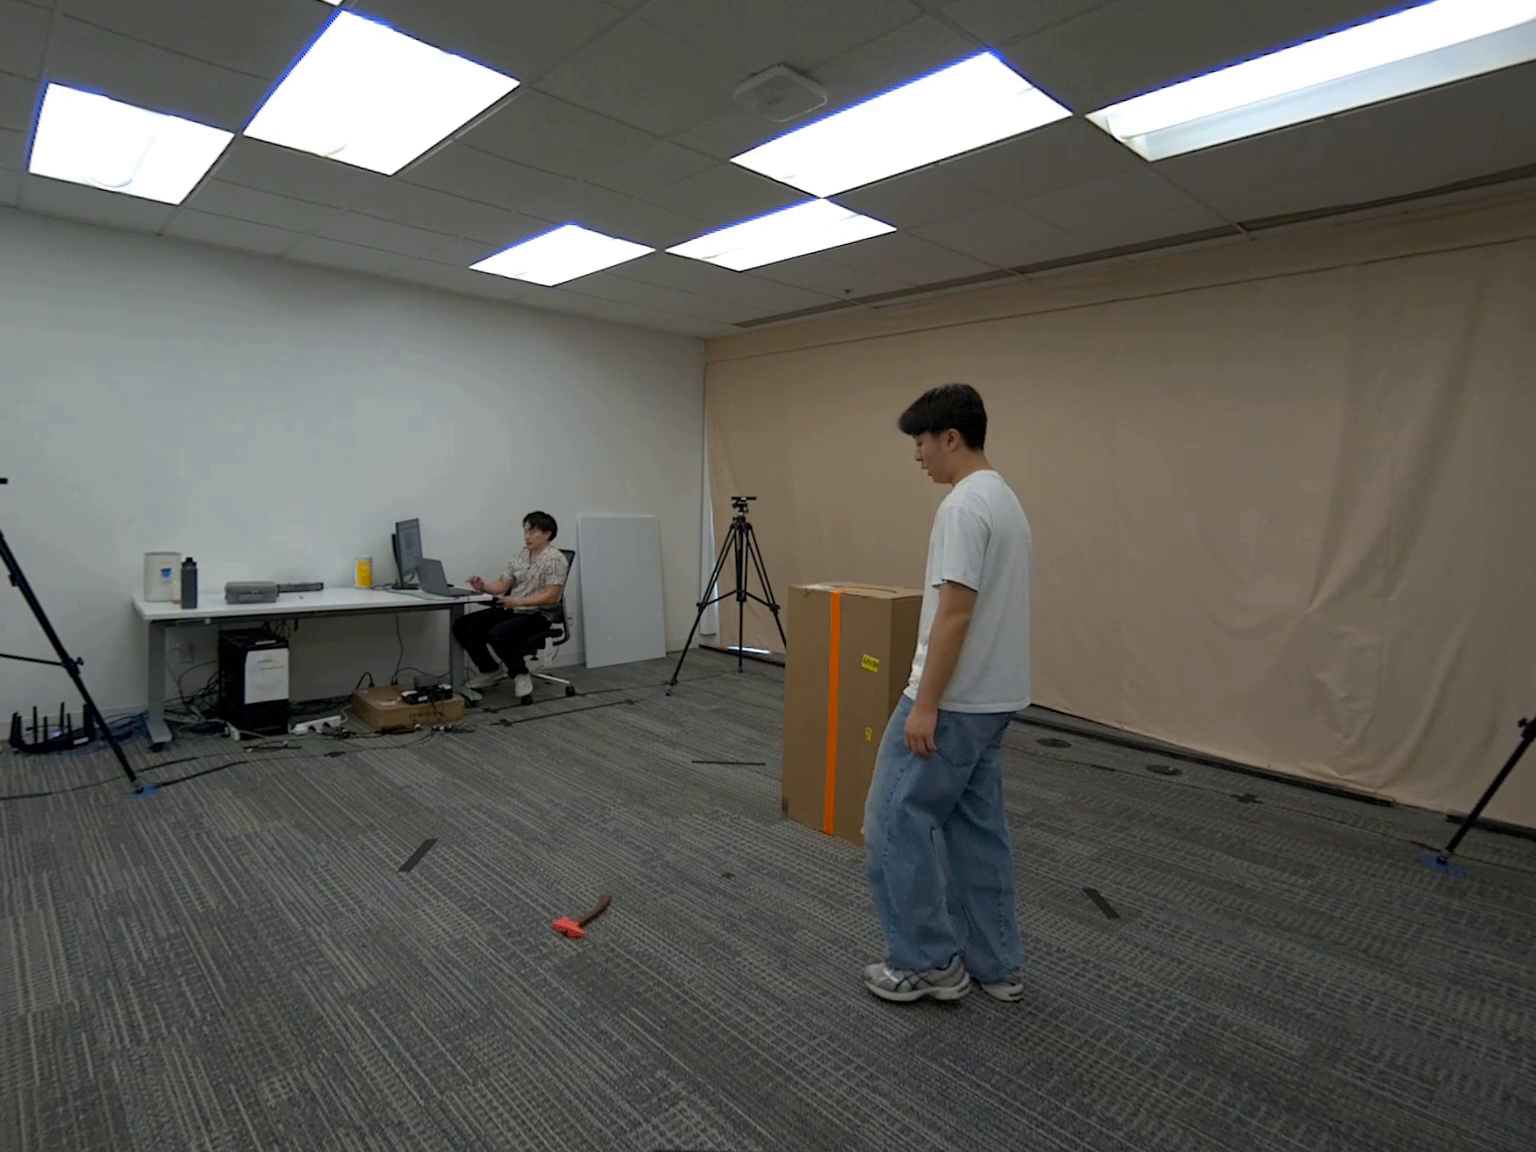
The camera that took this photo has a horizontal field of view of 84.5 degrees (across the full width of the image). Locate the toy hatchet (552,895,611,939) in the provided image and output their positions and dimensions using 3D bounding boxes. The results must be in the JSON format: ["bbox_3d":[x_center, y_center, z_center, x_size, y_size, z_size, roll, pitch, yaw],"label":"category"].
[{"bbox_3d":[-0.625,1.116,2.771,0.132,0.029,0.268,1,3,8],"label":"toy hatchet"}]
